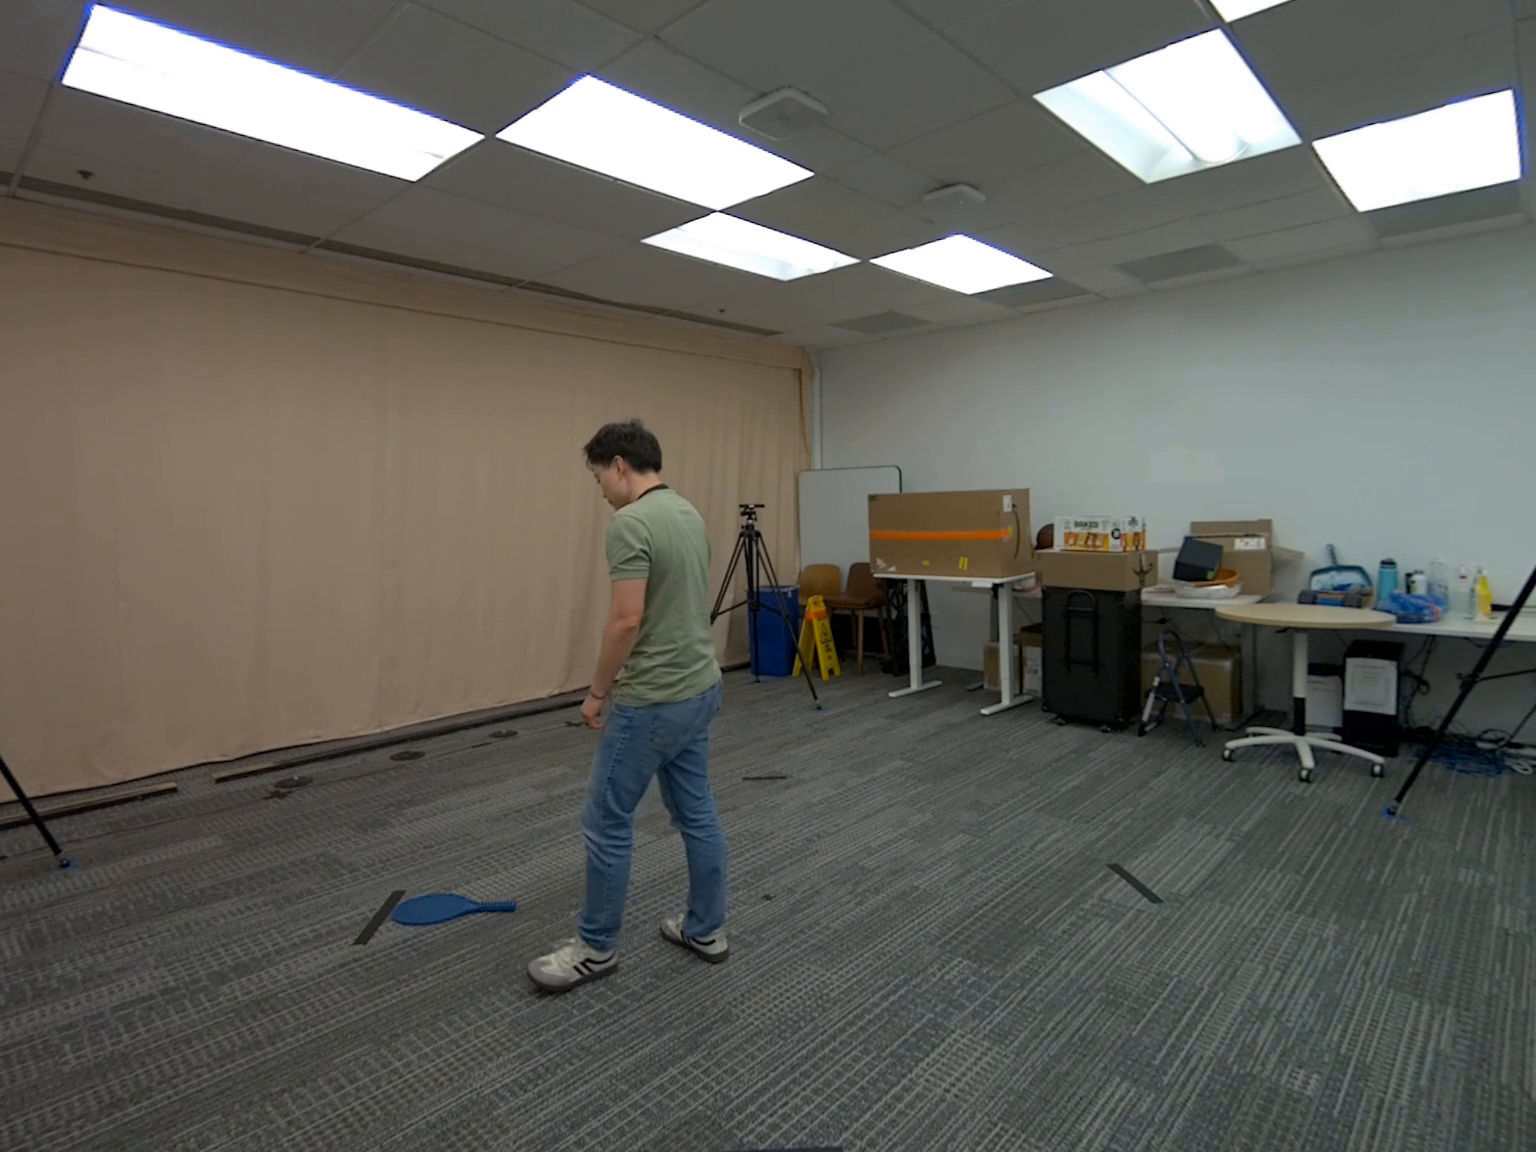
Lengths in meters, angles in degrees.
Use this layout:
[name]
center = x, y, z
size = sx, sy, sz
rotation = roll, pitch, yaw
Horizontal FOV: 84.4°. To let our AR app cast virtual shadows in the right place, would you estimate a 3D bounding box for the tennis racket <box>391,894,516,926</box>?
[tennis racket]
center = -1.090, 1.158, 2.930
size = 0.435, 0.032, 0.213
rotation = -3, 4, 3
